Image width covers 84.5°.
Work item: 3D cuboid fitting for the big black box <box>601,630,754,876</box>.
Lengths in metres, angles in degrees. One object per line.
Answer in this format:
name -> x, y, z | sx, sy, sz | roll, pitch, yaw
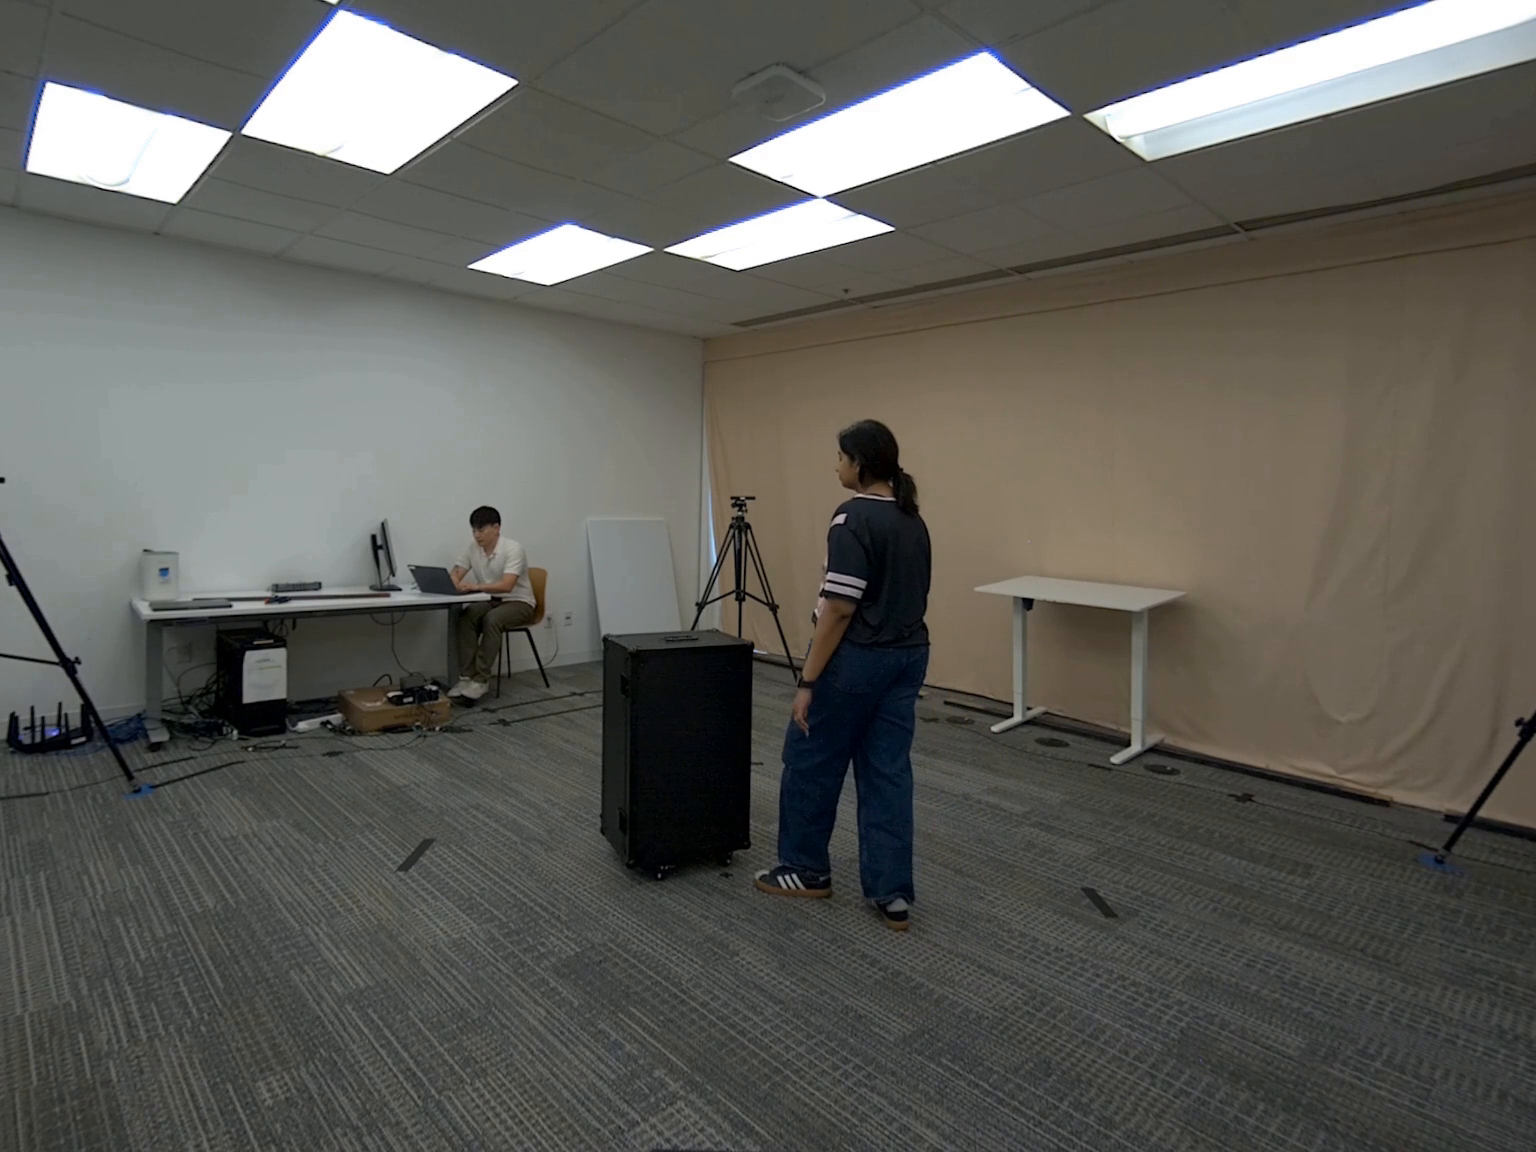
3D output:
big black box -> -0.368, 0.667, 3.221 | 0.514, 0.867, 0.393 | 0, 3, -25
